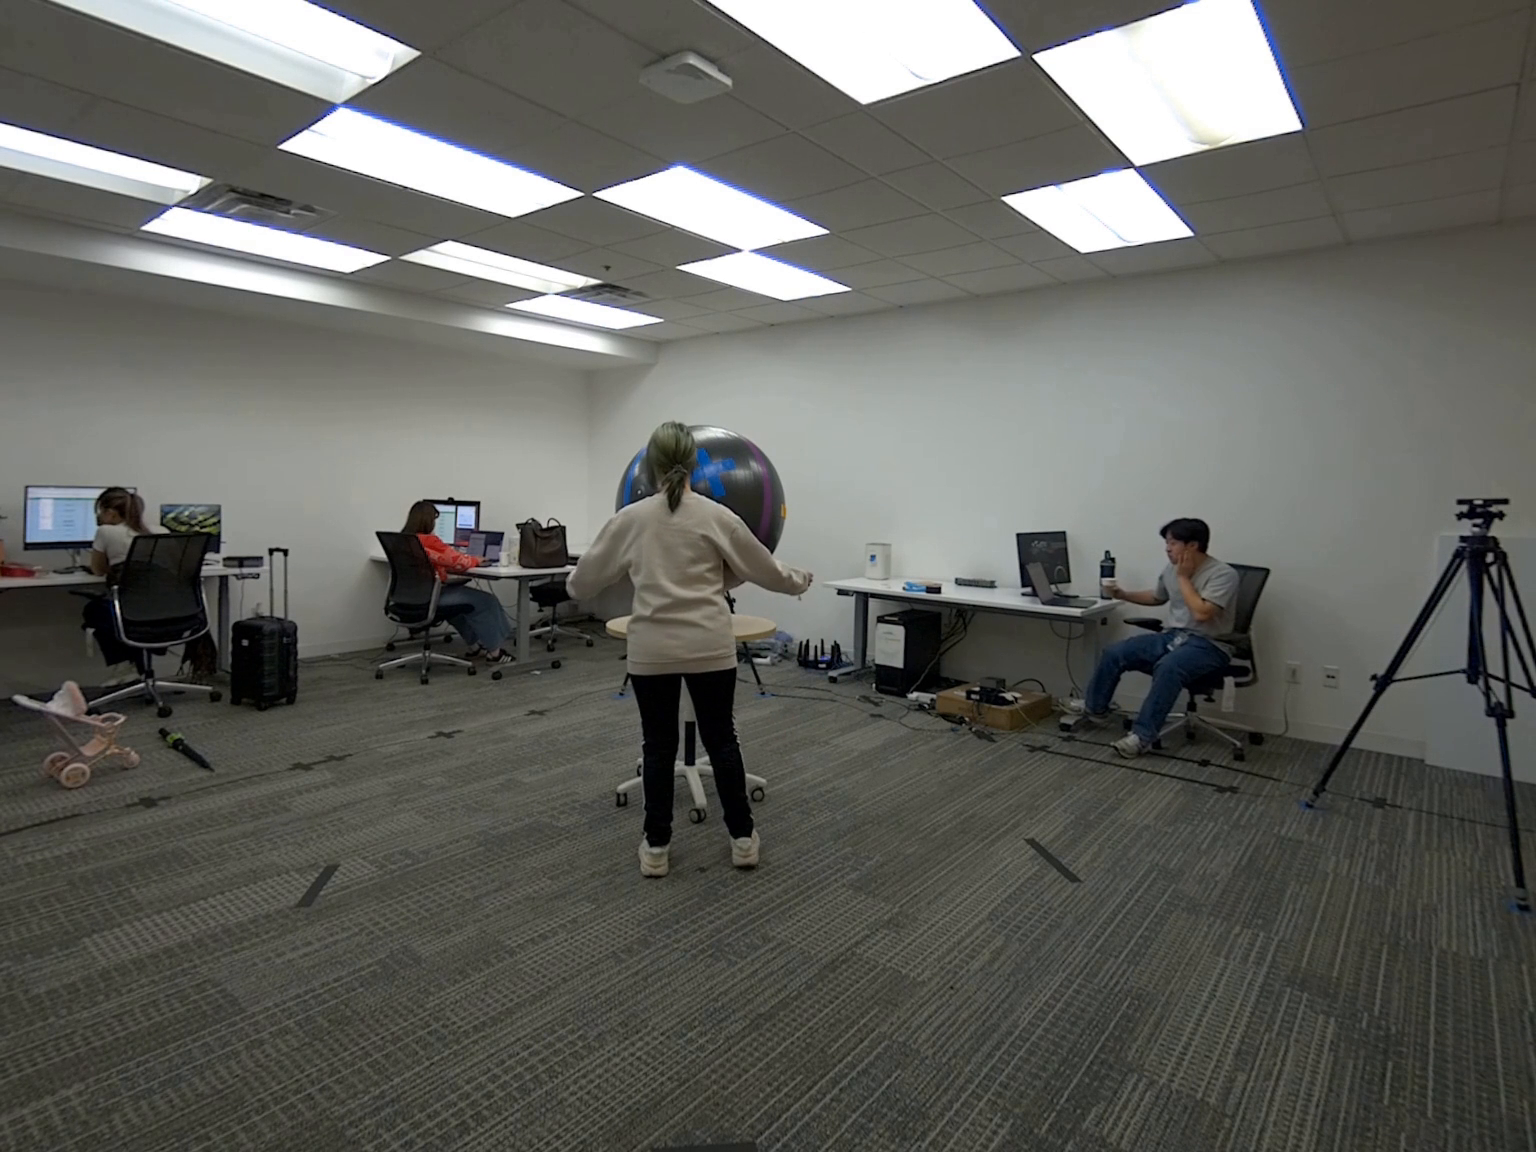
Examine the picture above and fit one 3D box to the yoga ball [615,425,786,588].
[{"bbox_3d":[-0.308,-0.292,3.799,0.757,0.756,0.761,1,4,-2],"label":"yoga ball"}]
